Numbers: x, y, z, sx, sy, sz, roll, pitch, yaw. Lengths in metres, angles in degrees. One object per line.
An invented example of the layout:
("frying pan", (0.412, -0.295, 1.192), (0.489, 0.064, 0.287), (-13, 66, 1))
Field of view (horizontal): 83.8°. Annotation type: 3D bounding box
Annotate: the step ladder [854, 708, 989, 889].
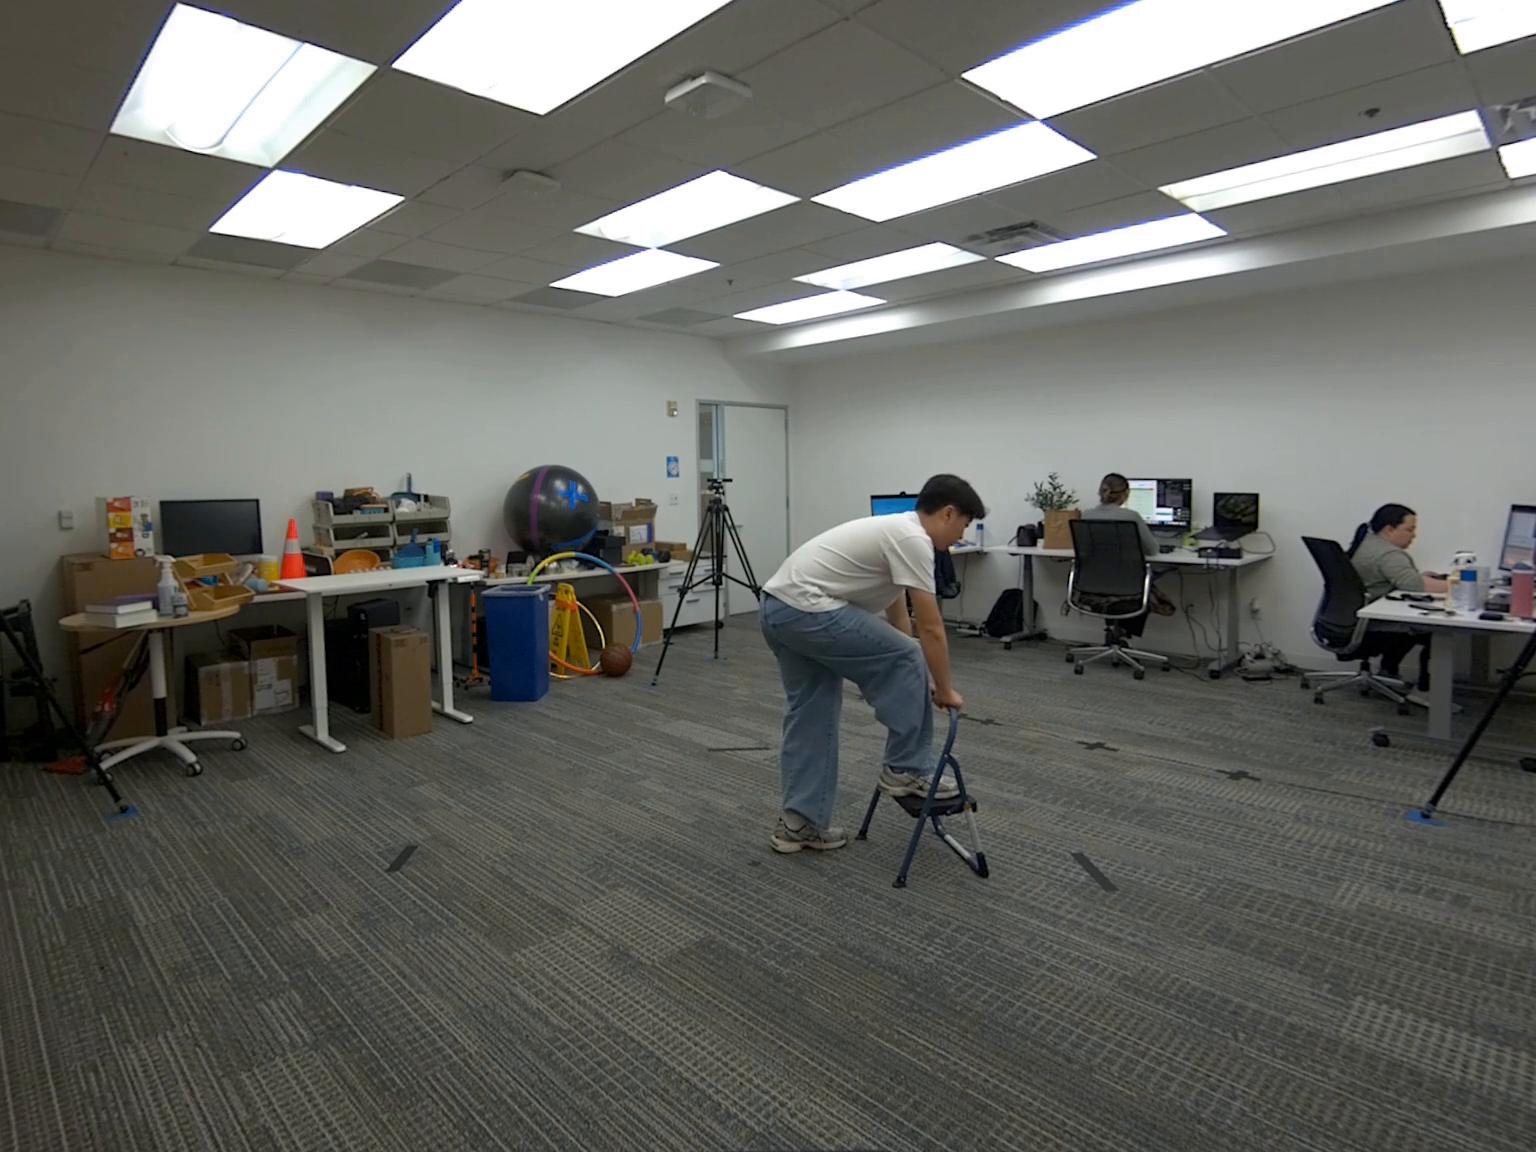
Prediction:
("step ladder", (0.557, 0.734, 3.112), (0.345, 0.603, 0.437), (-1, 5, -12))
